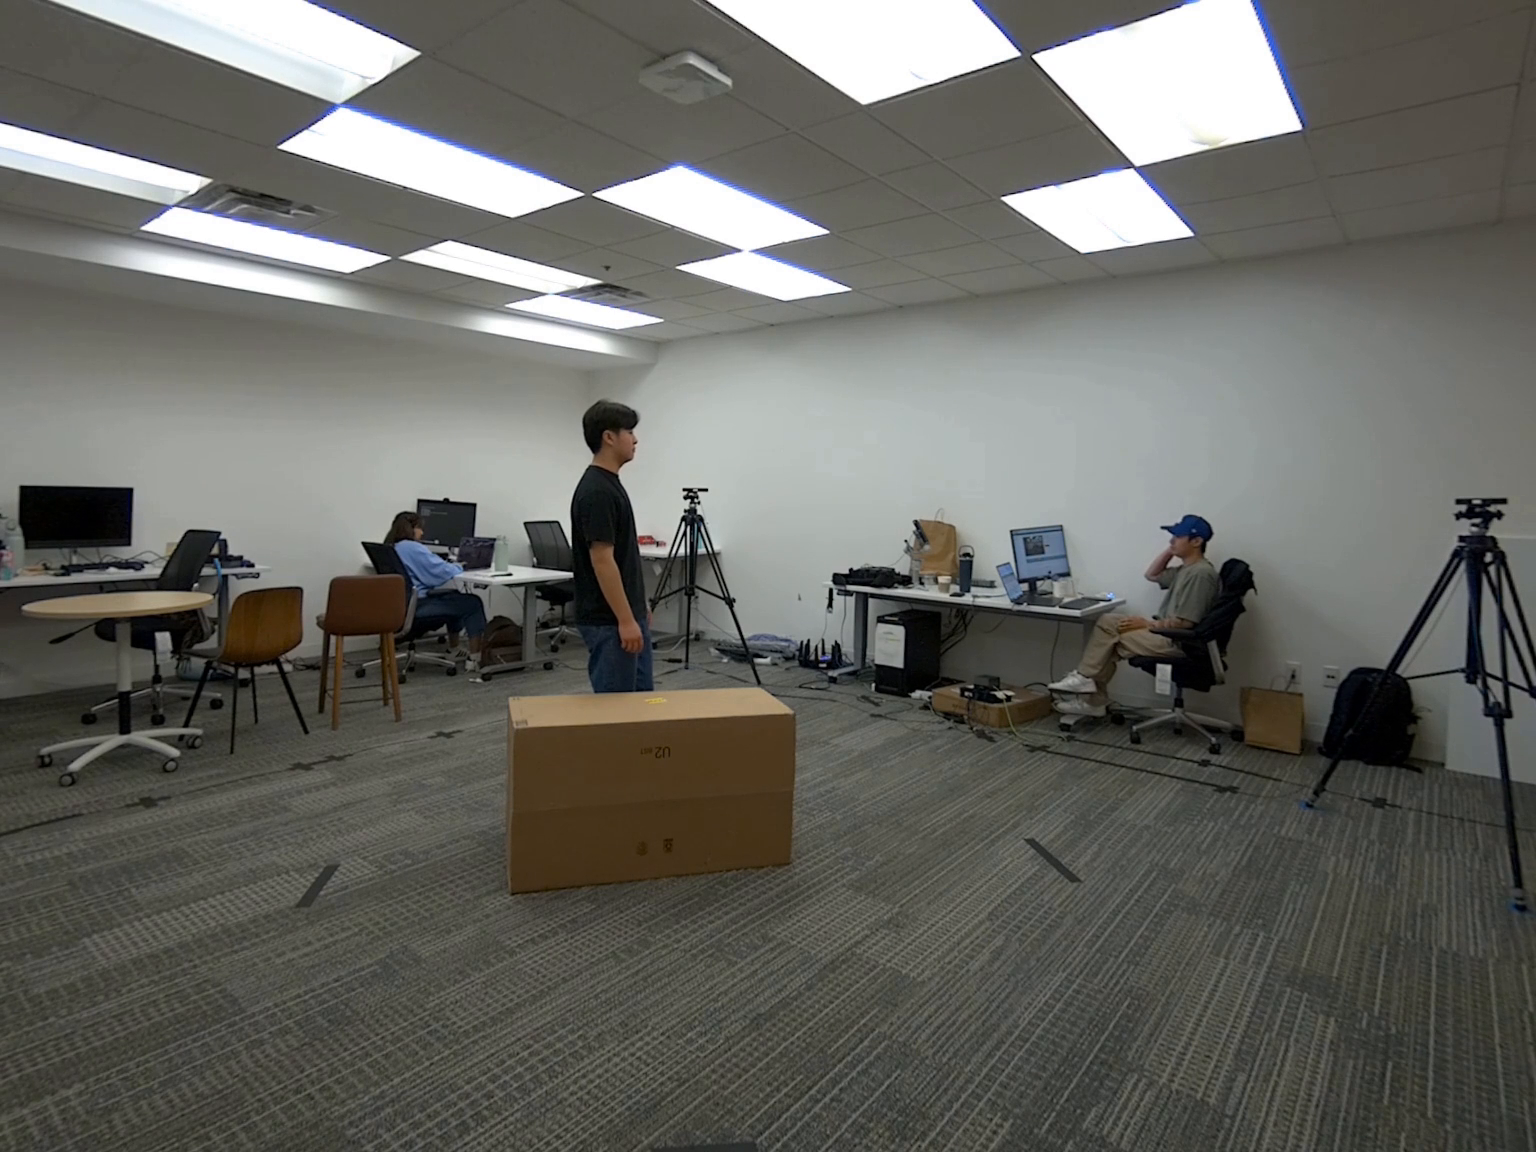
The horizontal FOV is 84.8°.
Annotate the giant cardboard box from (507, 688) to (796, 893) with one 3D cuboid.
[{"bbox_3d":[-0.461,0.766,3.212,1.008,0.583,0.456,0,3,-18],"label":"giant cardboard box"}]
